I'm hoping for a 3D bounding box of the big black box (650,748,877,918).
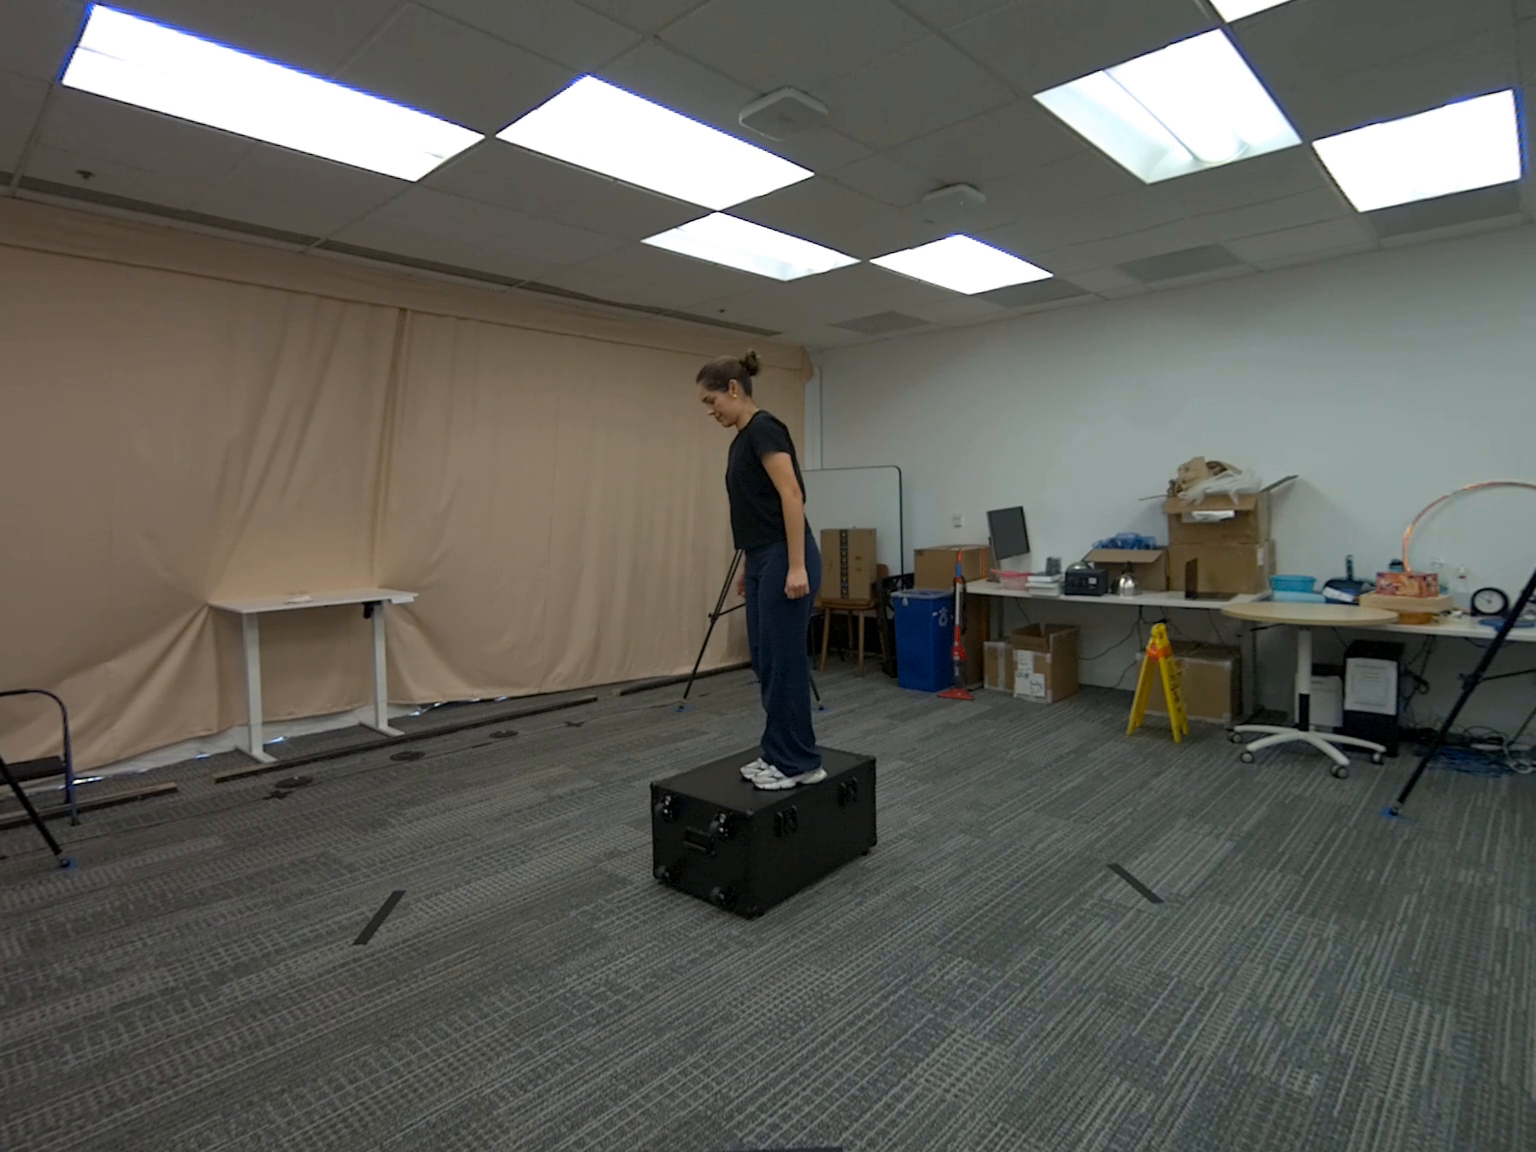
[{"bbox_3d":[-0.006,0.930,3.211,0.538,0.395,0.836,2,5,40],"label":"big black box"}]
